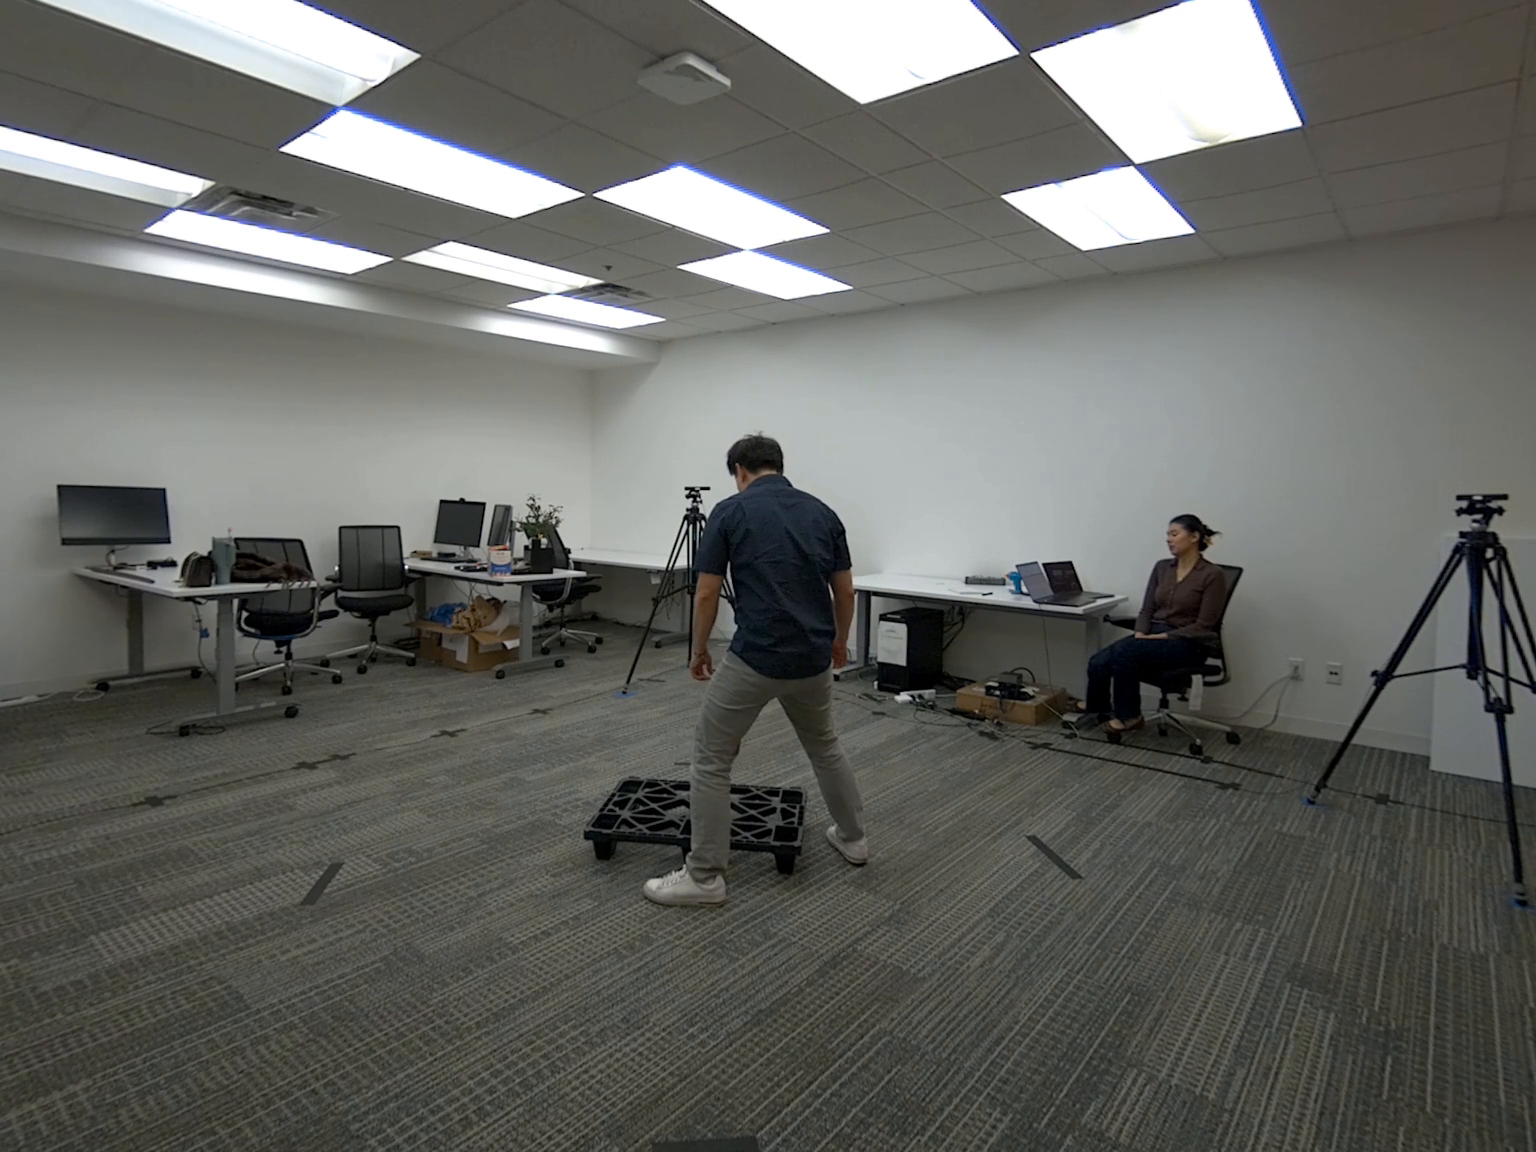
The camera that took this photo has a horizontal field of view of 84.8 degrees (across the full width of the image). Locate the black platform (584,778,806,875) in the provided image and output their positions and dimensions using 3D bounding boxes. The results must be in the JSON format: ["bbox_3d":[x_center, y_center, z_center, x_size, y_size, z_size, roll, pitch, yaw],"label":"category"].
[{"bbox_3d":[-0.266,0.973,3.341,0.812,0.143,0.603,1,6,7],"label":"black platform"}]
